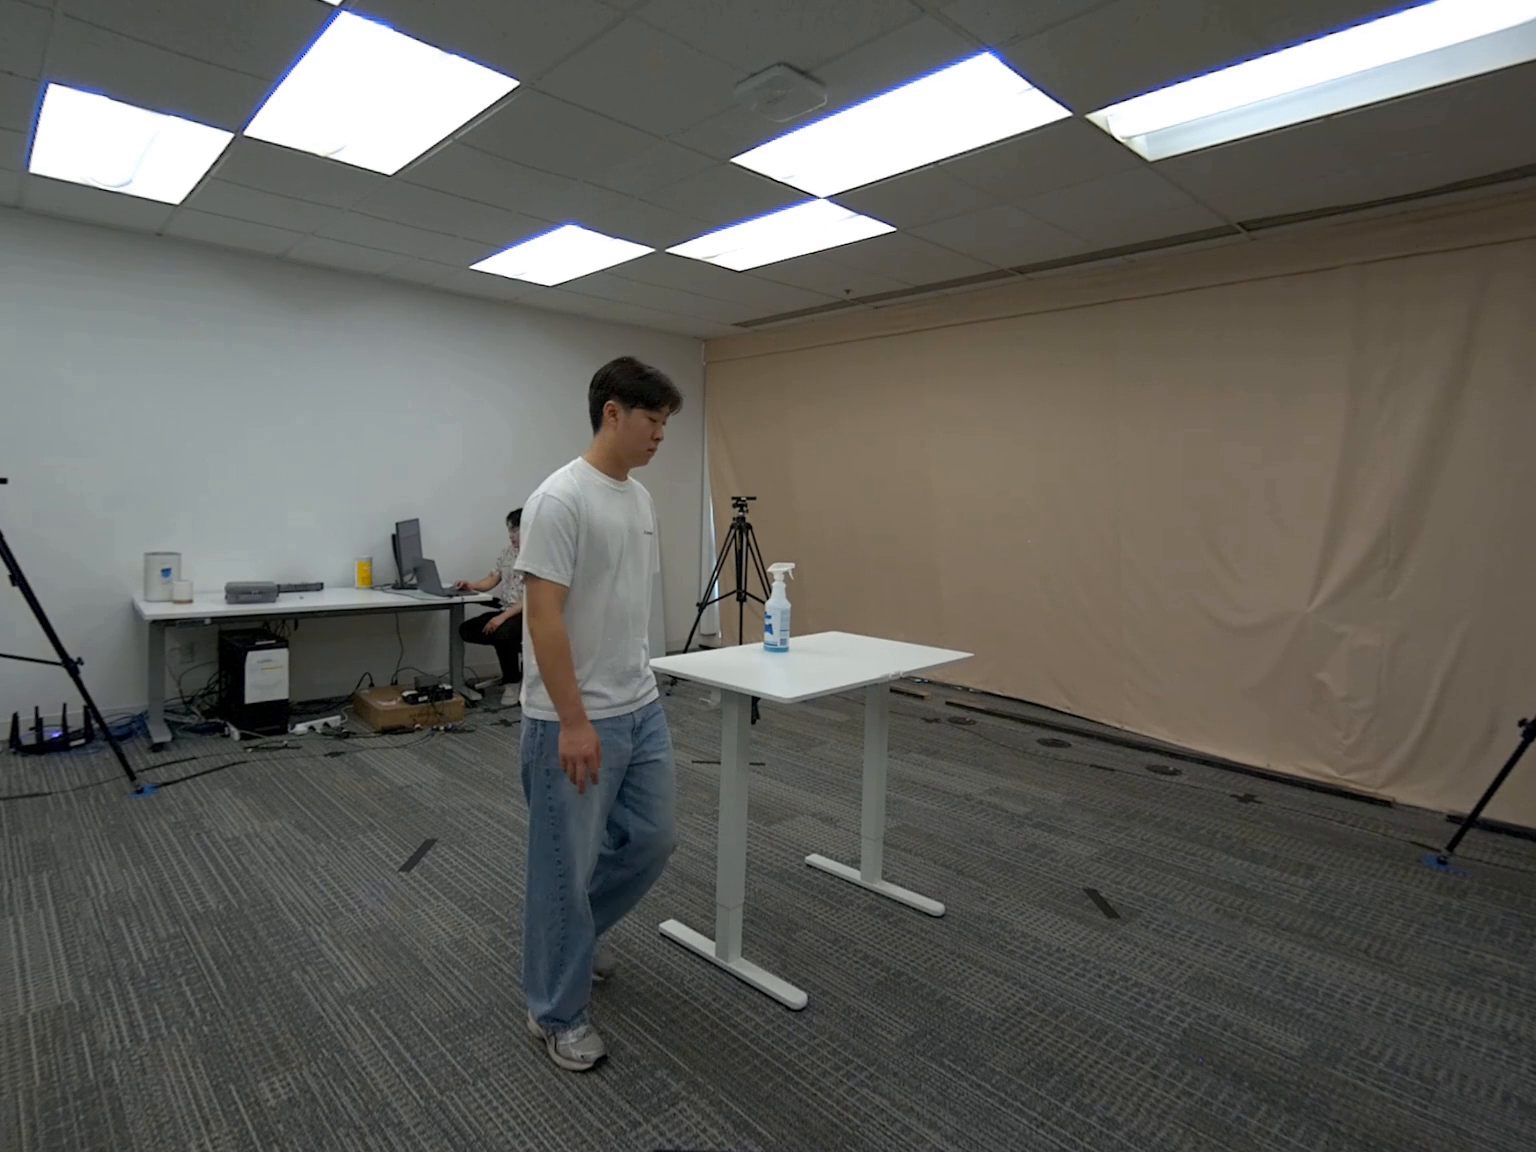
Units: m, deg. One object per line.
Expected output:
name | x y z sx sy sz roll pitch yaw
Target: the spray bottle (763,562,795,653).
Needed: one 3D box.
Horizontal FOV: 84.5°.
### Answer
spray bottle | 0.022 0.107 2.832 0.092 0.296 0.085 6 4 30
